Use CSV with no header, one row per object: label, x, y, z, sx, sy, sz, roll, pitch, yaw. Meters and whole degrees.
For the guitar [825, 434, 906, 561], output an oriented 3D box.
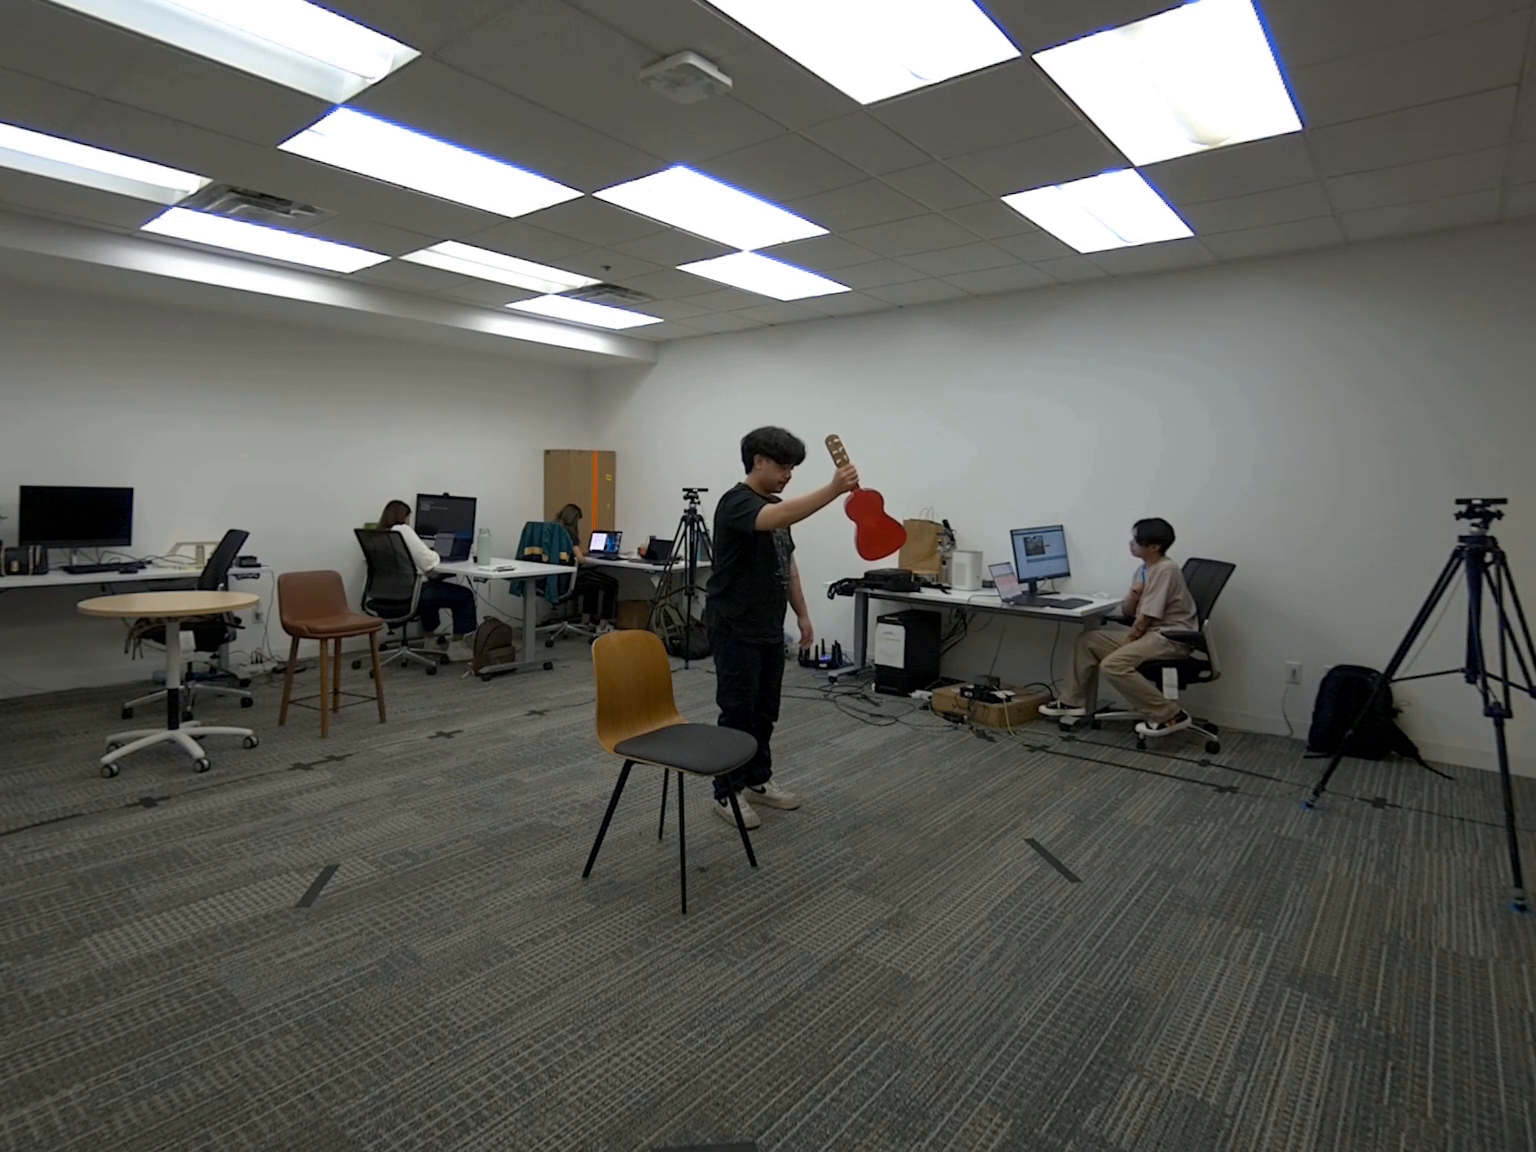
guitar,0.314,-0.283,3.191,0.193,0.491,0.071,-33,10,7
